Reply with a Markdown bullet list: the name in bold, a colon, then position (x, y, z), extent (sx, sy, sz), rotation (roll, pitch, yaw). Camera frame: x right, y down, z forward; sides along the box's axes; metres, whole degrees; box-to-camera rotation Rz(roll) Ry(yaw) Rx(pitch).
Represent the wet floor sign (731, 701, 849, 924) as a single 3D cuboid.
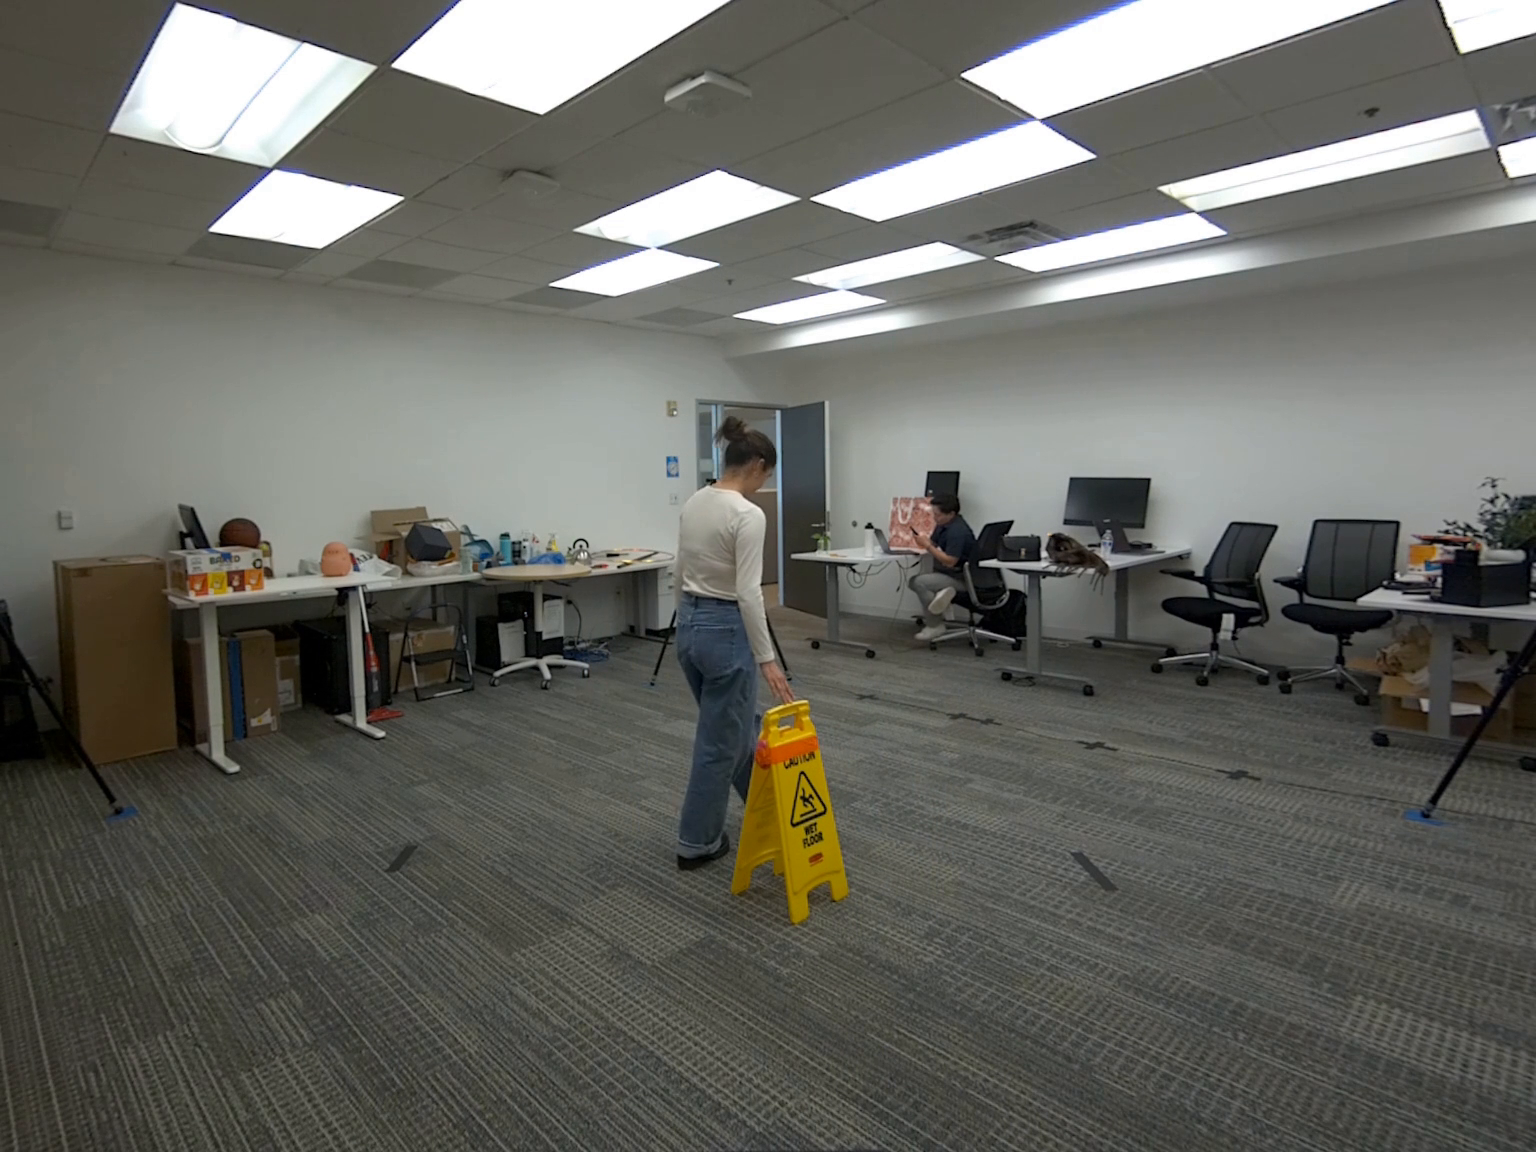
- **wet floor sign**: position (0.071, 0.745, 2.849), extent (0.275, 0.643, 0.299), rotation (-6, 7, -44)
